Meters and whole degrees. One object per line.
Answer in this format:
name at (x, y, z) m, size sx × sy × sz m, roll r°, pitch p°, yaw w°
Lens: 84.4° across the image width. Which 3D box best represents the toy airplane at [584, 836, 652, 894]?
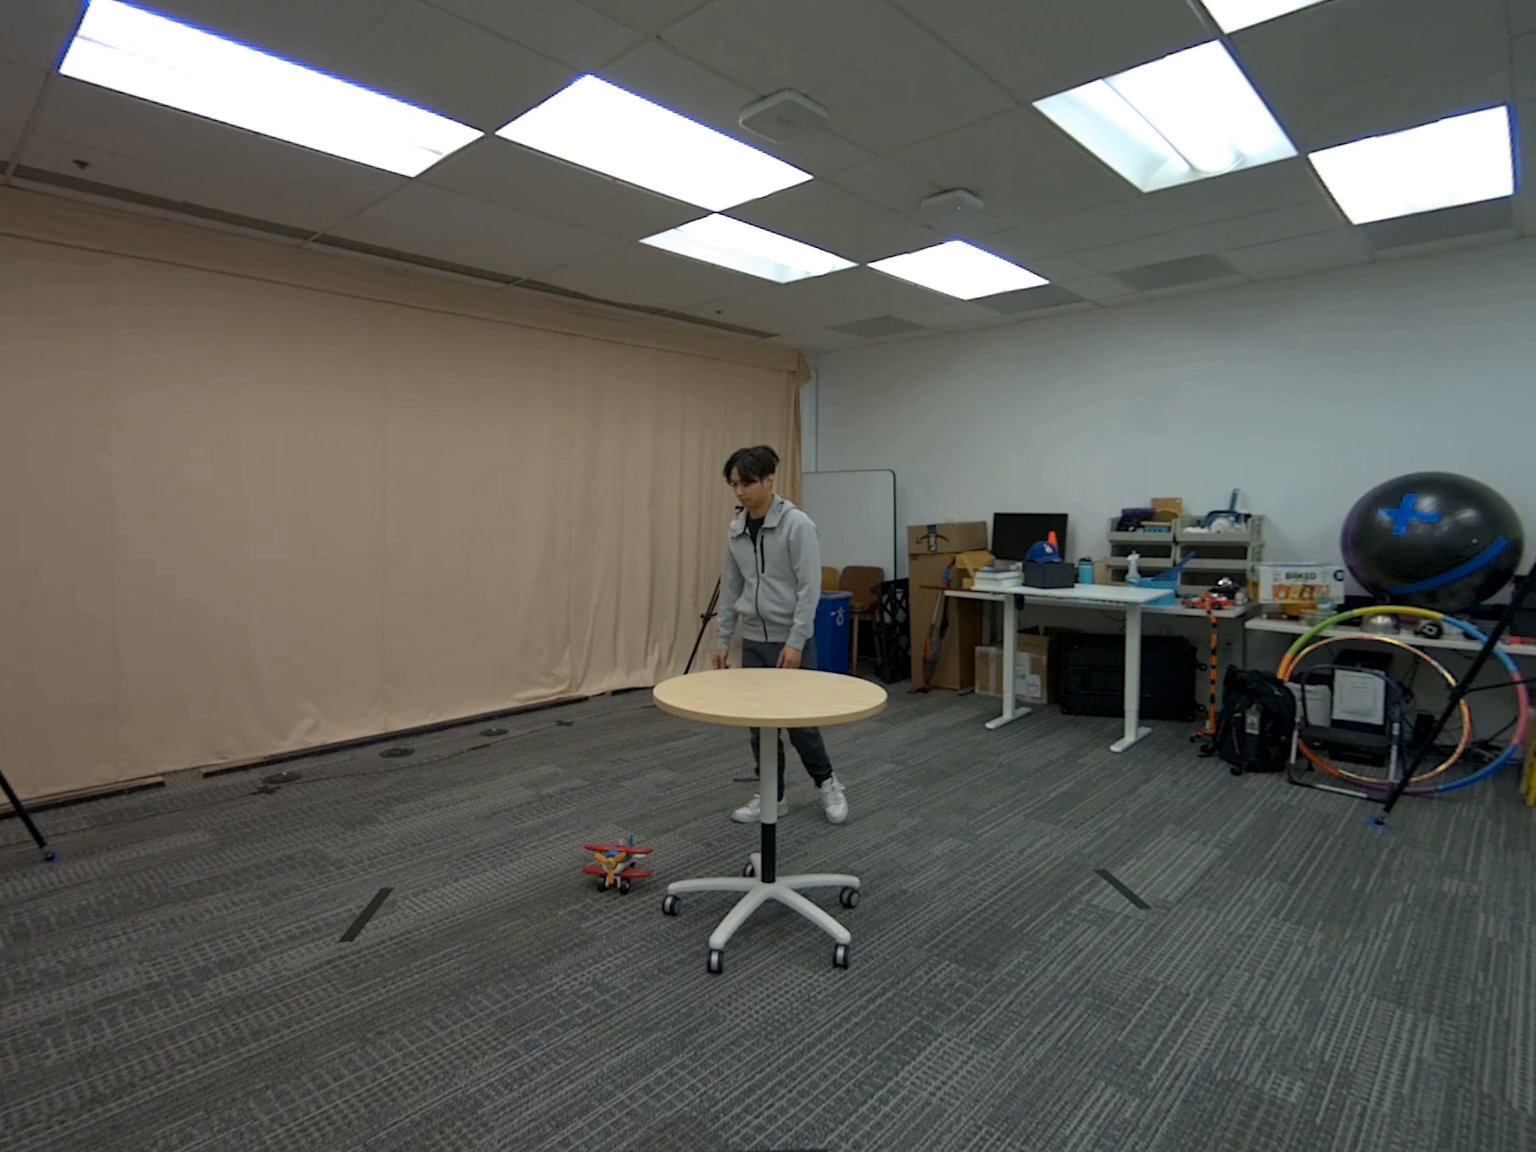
toy airplane at (-0.562, 1.062, 3.127) m, size 0.247 × 0.156 × 0.264 m, roll -2°, pitch 5°, yaw -18°
